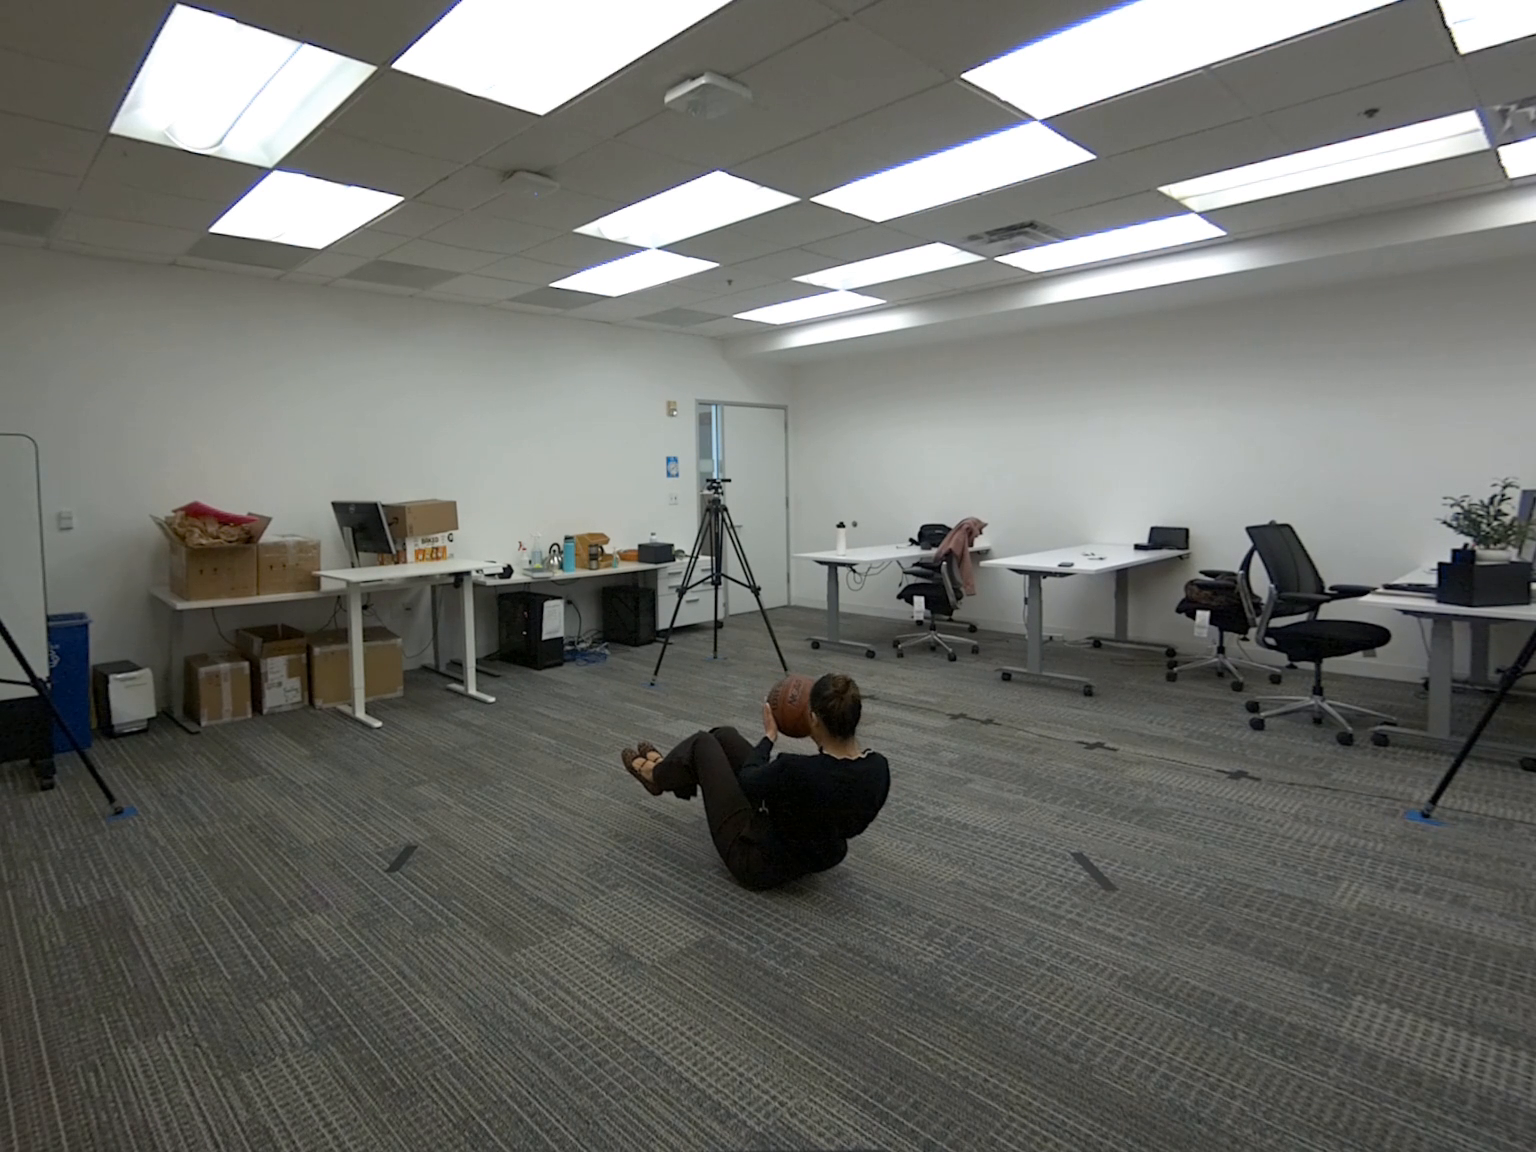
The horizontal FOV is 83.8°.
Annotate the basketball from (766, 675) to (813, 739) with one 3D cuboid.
[{"bbox_3d":[0.126,0.507,3.243,0.236,0.235,0.237,-1,5,-2],"label":"basketball"}]
